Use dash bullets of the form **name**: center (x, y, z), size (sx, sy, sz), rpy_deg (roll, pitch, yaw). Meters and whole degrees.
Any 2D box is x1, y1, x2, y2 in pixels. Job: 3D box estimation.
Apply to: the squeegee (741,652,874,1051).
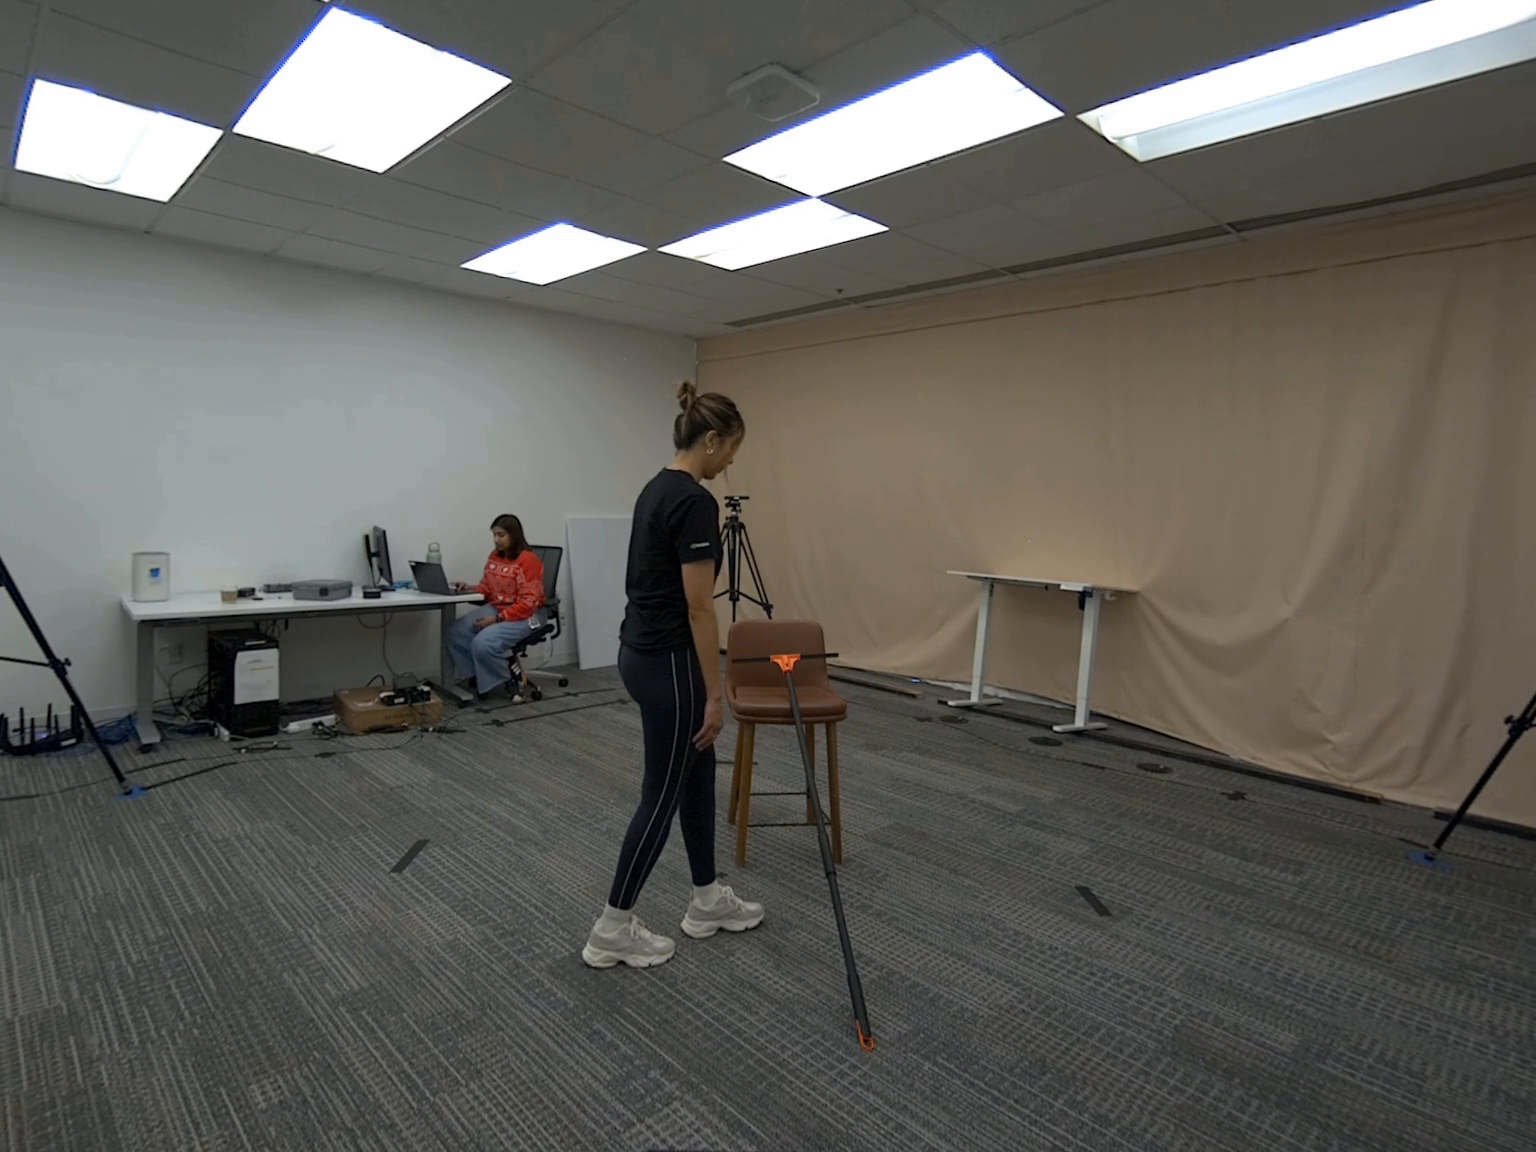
- **squeegee**: center (0.147, 0.752, 2.780), size (0.439, 0.051, 1.575), rpy_deg (-22, 34, 6)
